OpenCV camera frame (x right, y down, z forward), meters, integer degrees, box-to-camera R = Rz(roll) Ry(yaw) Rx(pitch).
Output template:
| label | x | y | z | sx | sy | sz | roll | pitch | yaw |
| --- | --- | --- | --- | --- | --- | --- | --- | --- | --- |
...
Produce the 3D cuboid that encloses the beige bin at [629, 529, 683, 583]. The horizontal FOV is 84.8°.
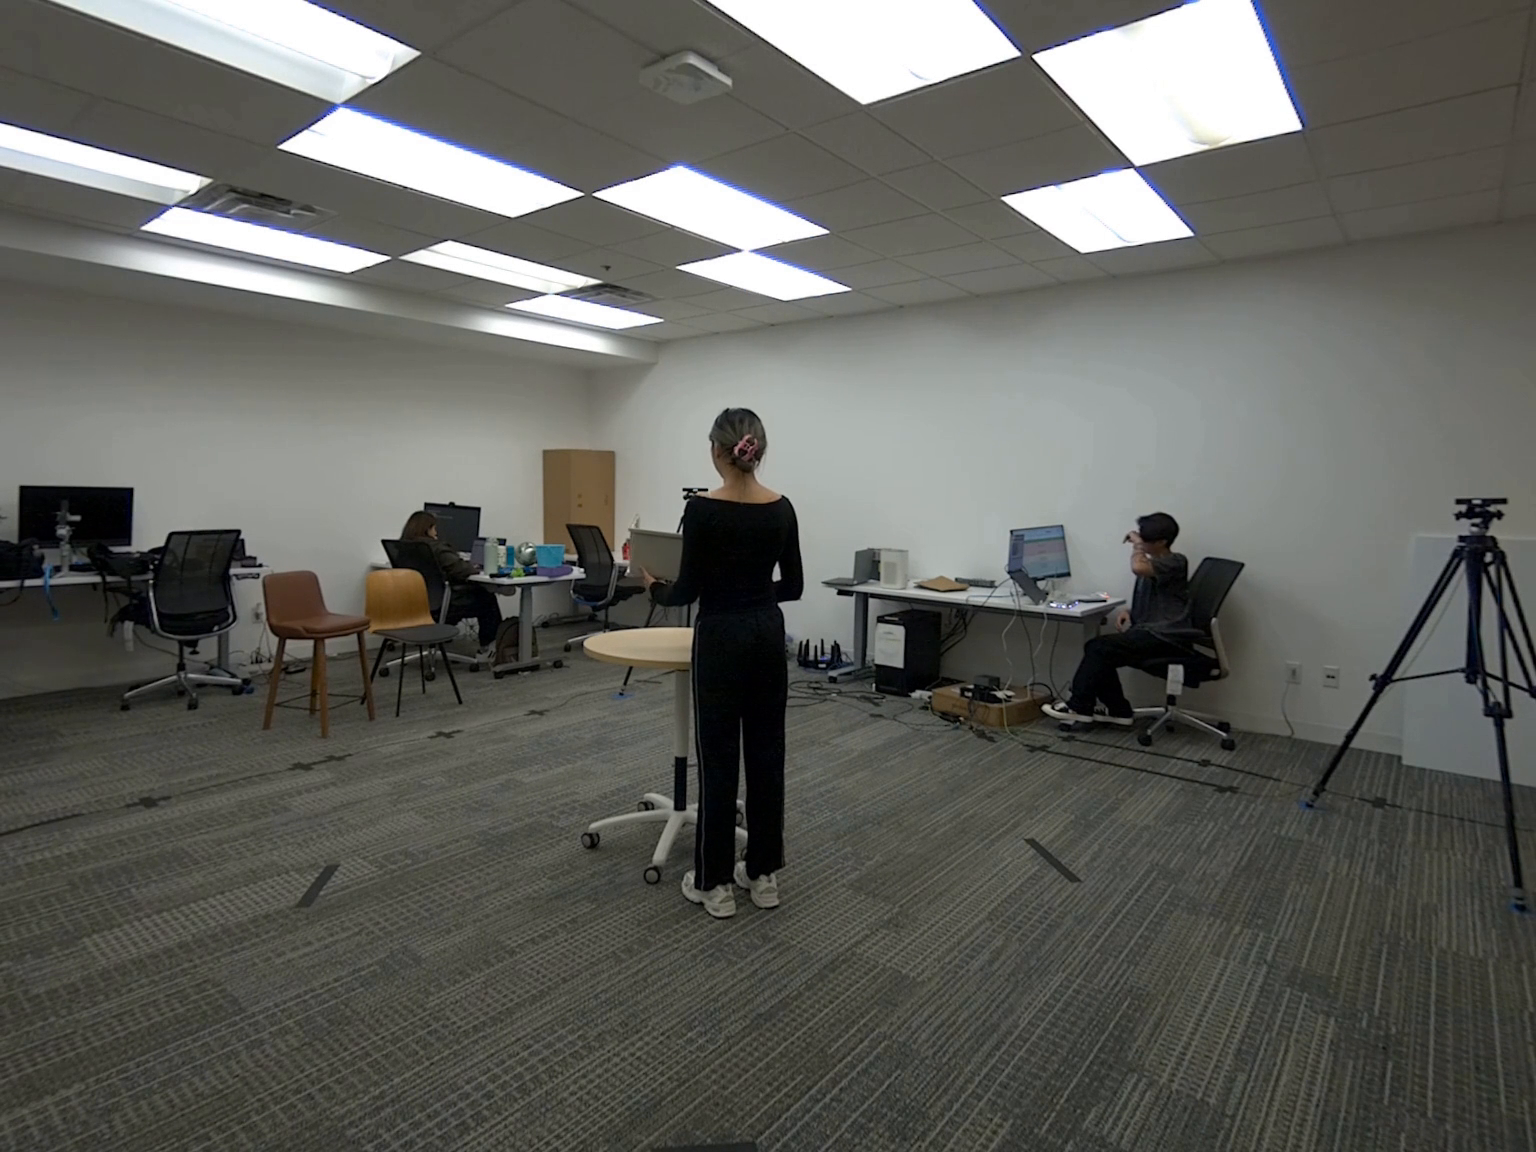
| label | x | y | z | sx | sy | sz | roll | pitch | yaw |
| --- | --- | --- | --- | --- | --- | --- | --- | --- | --- |
| beige bin | -0.313 | -0.104 | 3.186 | 0.420 | 0.187 | 0.384 | 6 | 14 | -5 |
